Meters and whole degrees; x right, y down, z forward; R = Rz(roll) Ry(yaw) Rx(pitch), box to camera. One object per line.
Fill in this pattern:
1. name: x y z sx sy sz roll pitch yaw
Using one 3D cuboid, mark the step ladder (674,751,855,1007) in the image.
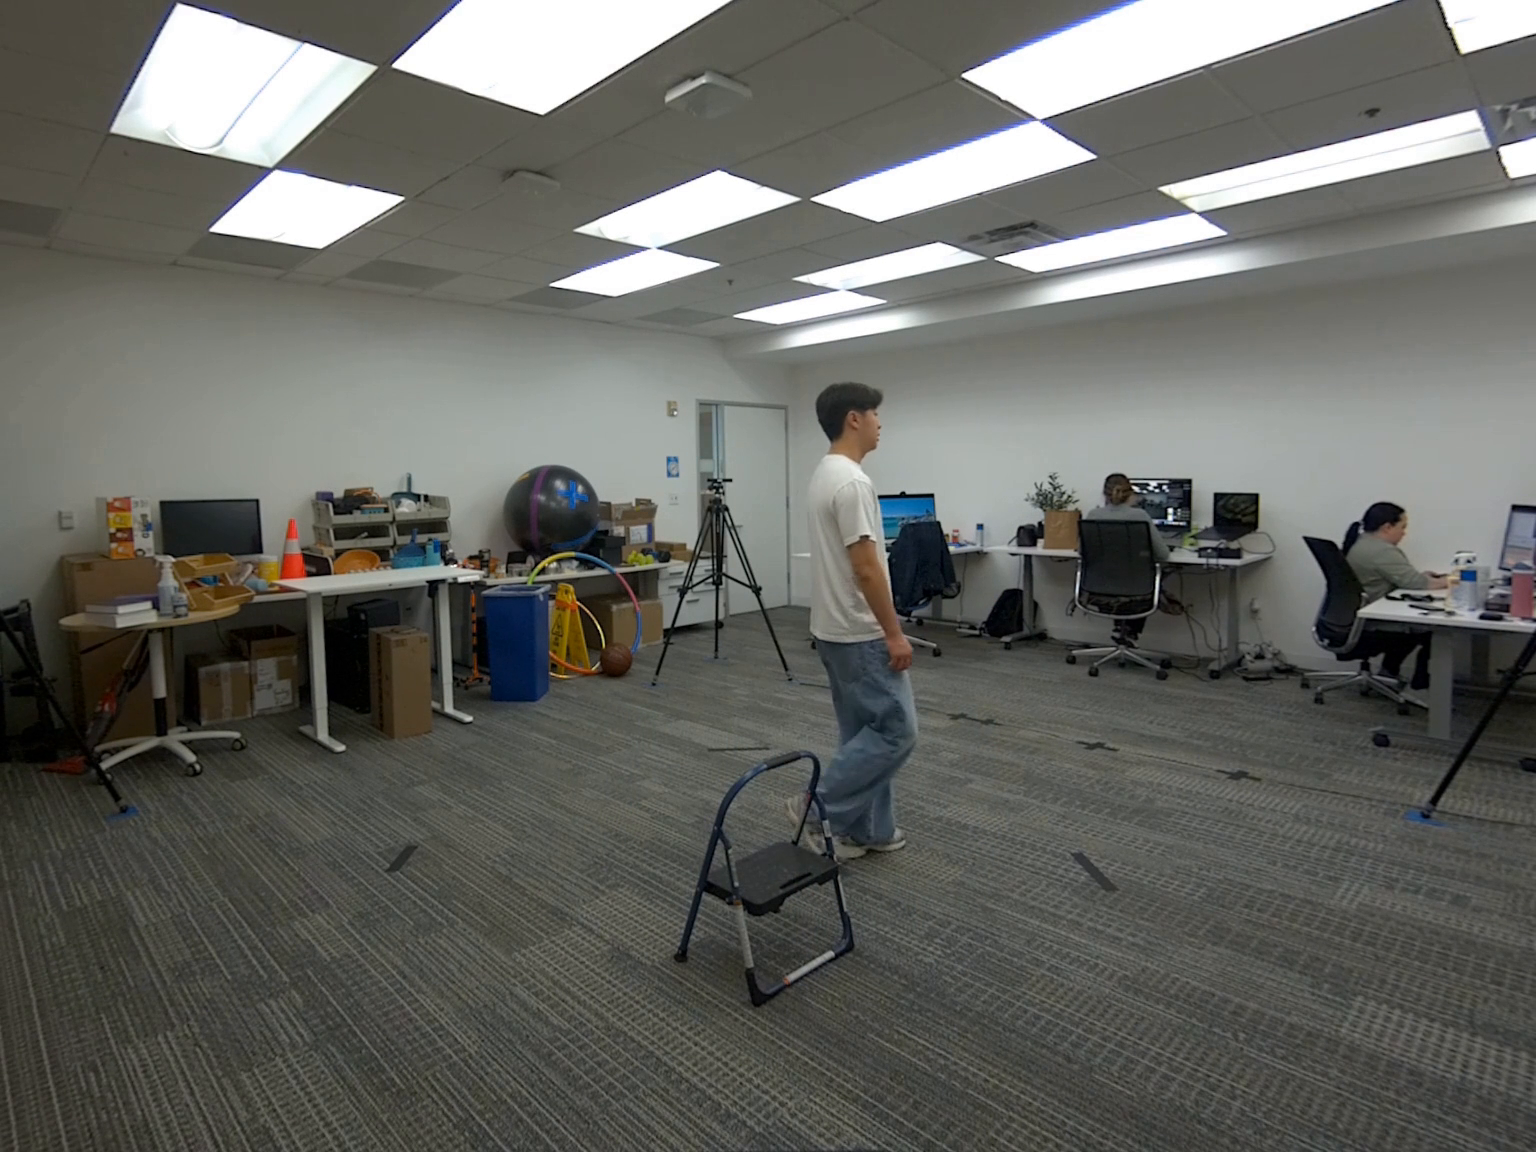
1. step ladder: -0.010 0.810 2.501 0.360 0.604 0.419 3 6 45
